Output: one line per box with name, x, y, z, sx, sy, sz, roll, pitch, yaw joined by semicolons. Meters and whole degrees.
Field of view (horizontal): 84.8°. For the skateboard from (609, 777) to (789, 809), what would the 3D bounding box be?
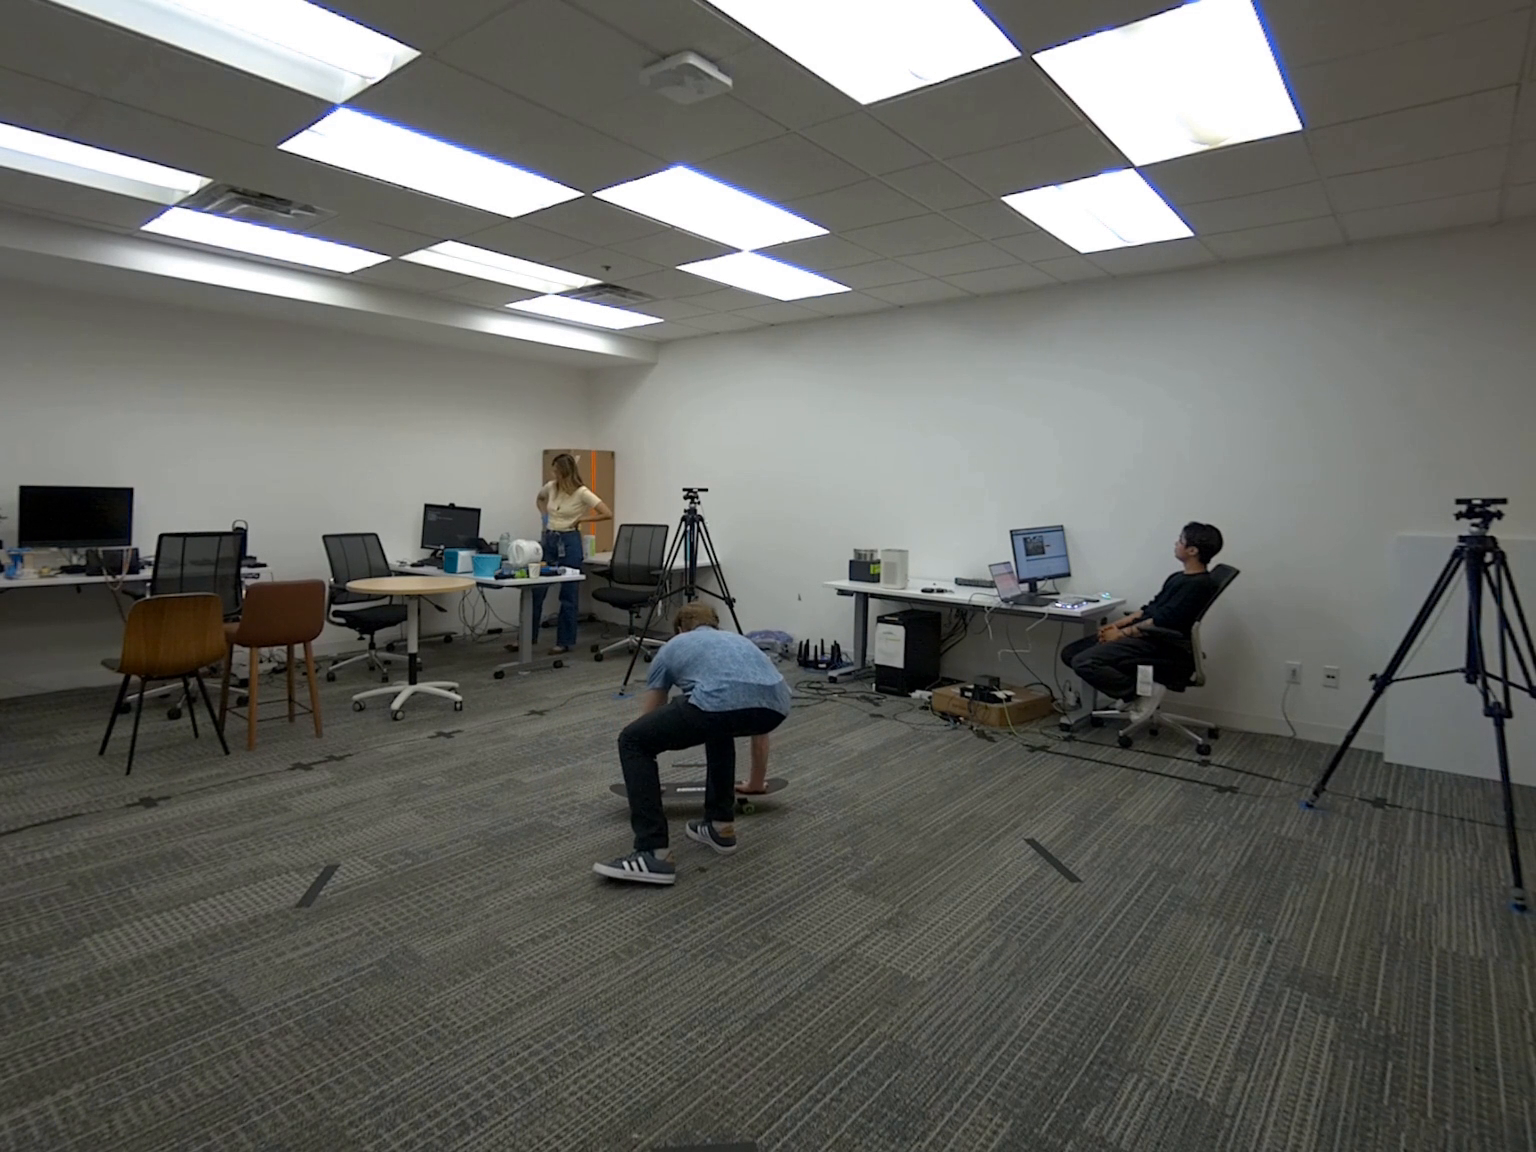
skateboard;-0.304;0.947;3.686;0.779;0.110;0.195;0;3;-8
